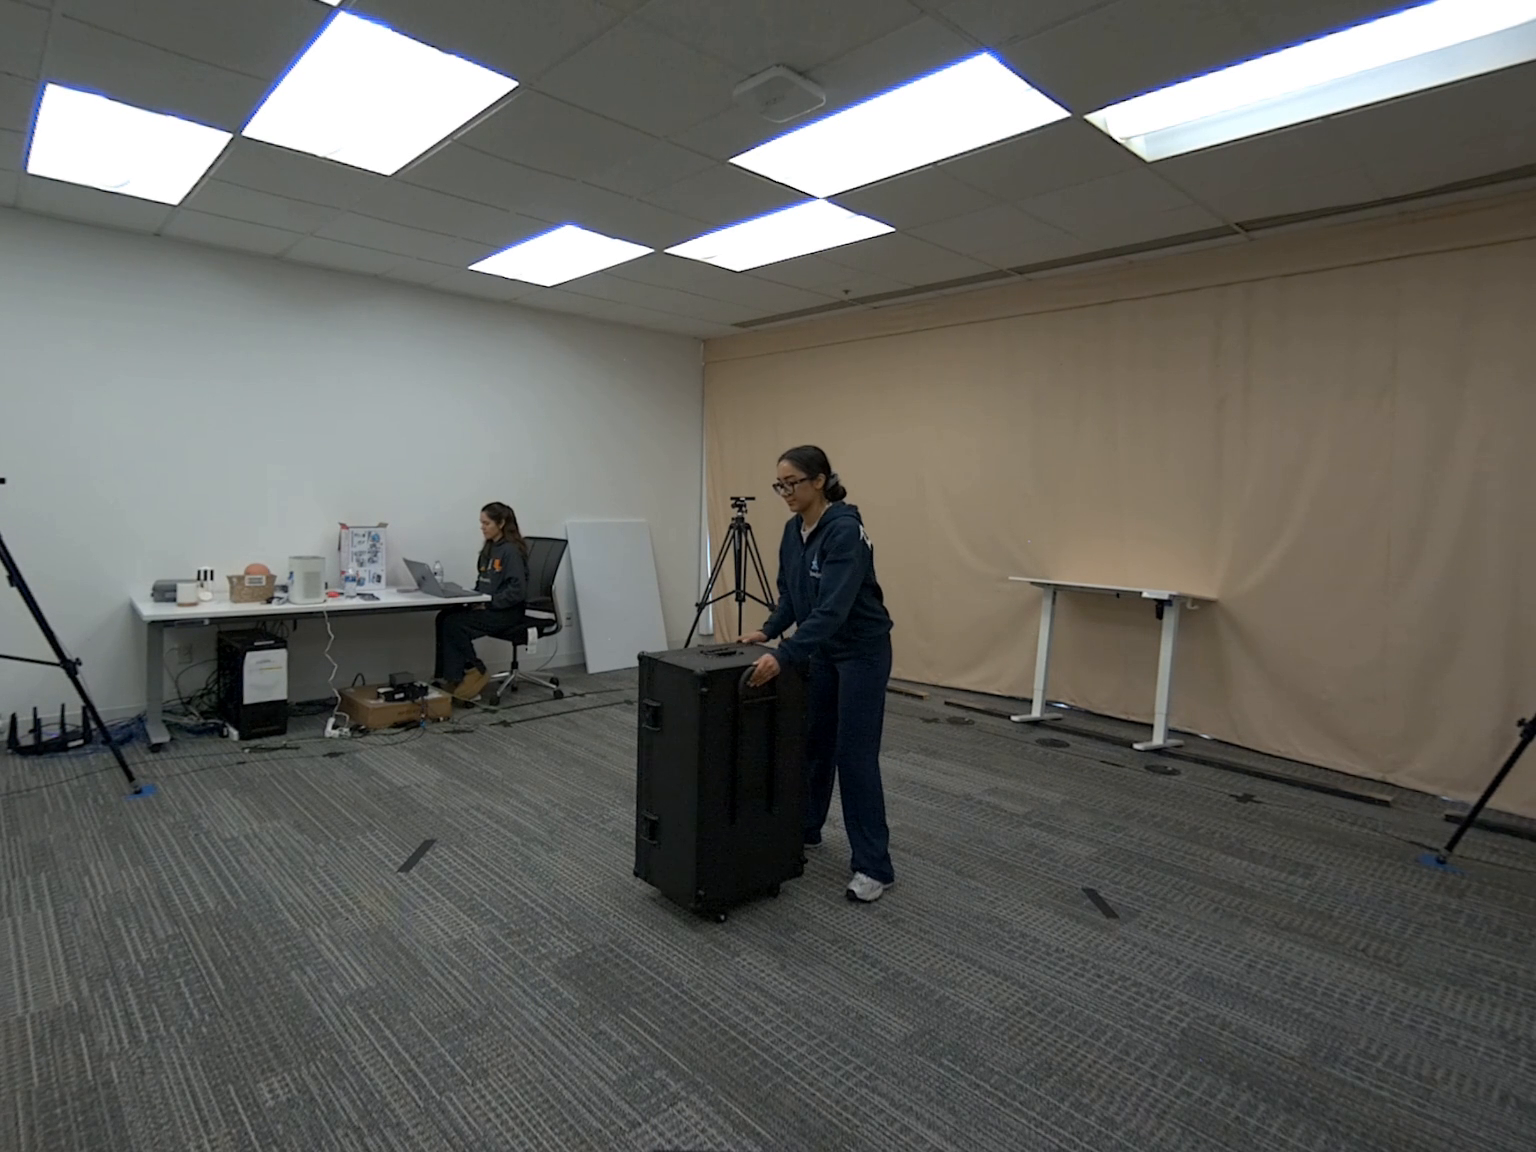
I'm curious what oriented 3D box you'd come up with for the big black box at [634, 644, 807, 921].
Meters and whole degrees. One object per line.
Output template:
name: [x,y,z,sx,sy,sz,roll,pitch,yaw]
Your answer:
big black box: [-0.156,0.700,2.918,0.509,0.859,0.406,-2,5,-41]
